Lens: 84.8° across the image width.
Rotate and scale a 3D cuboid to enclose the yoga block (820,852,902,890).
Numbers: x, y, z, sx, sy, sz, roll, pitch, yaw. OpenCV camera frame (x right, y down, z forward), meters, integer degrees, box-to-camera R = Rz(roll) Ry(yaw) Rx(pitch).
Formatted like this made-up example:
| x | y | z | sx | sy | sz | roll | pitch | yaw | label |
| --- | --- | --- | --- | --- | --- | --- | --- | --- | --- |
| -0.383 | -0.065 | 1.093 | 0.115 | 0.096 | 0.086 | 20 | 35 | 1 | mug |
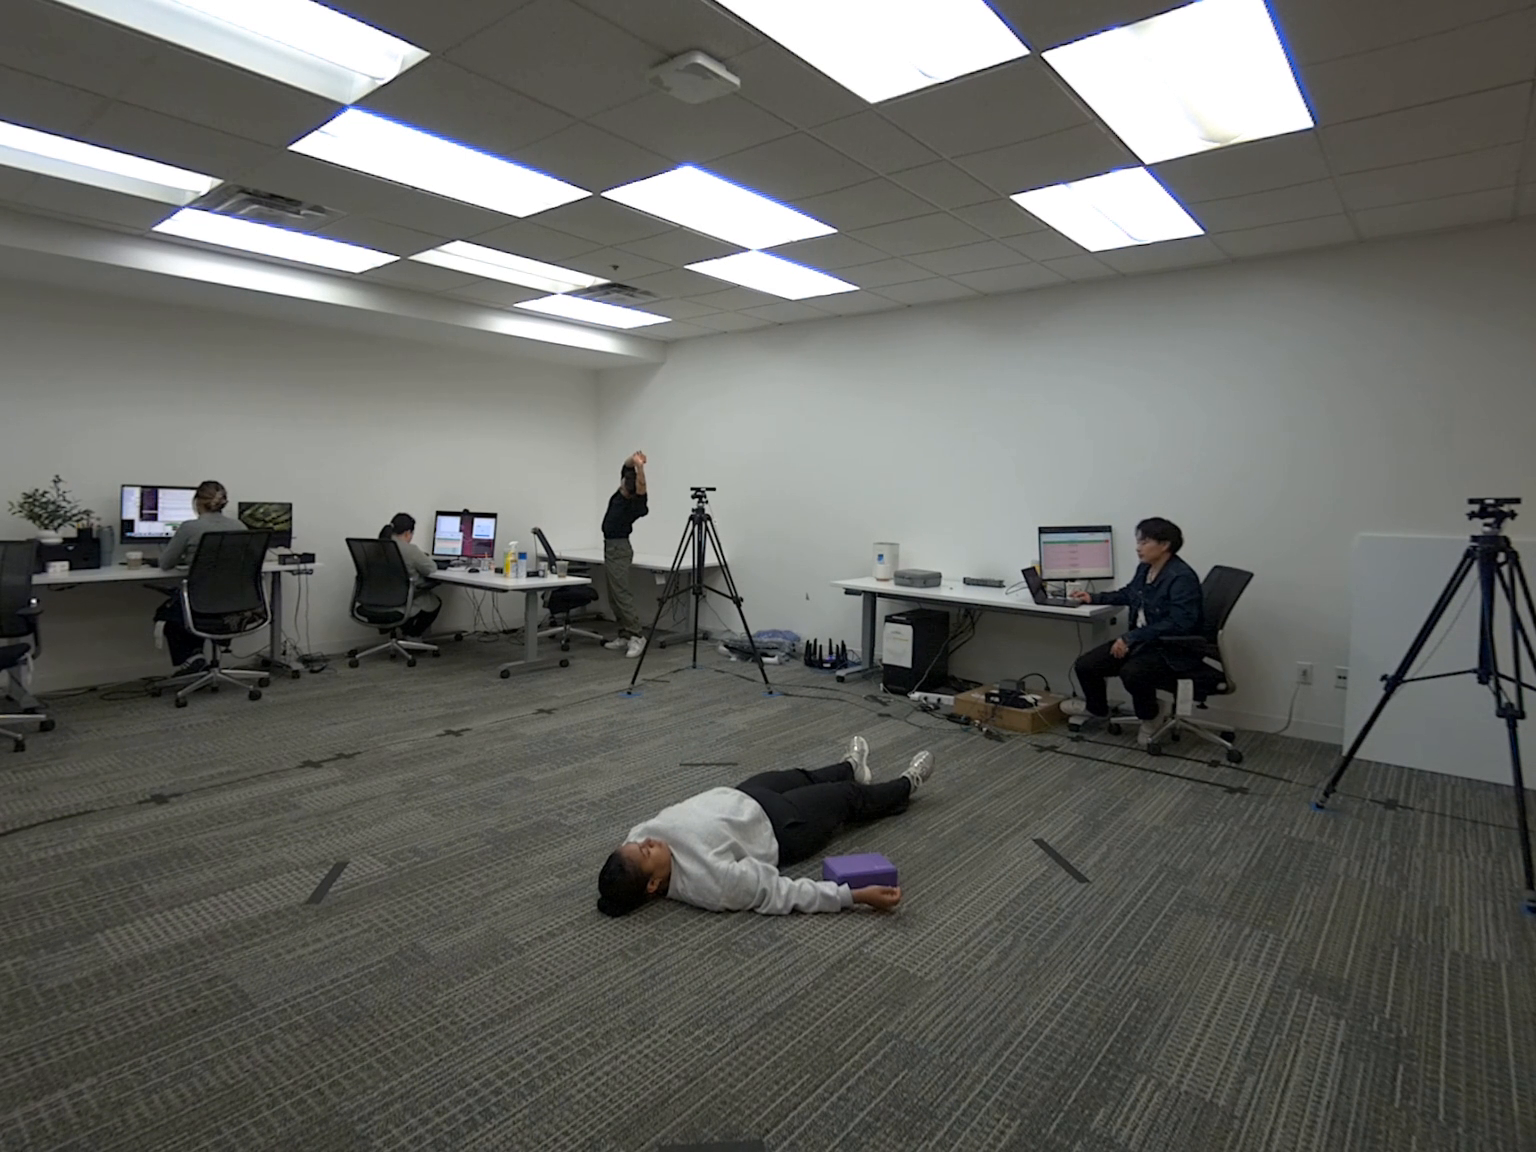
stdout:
| x | y | z | sx | sy | sz | roll | pitch | yaw | label |
| --- | --- | --- | --- | --- | --- | --- | --- | --- | --- |
| 0.322 | 1.052 | 3.012 | 0.225 | 0.076 | 0.152 | -1 | 5 | -17 | yoga block |
